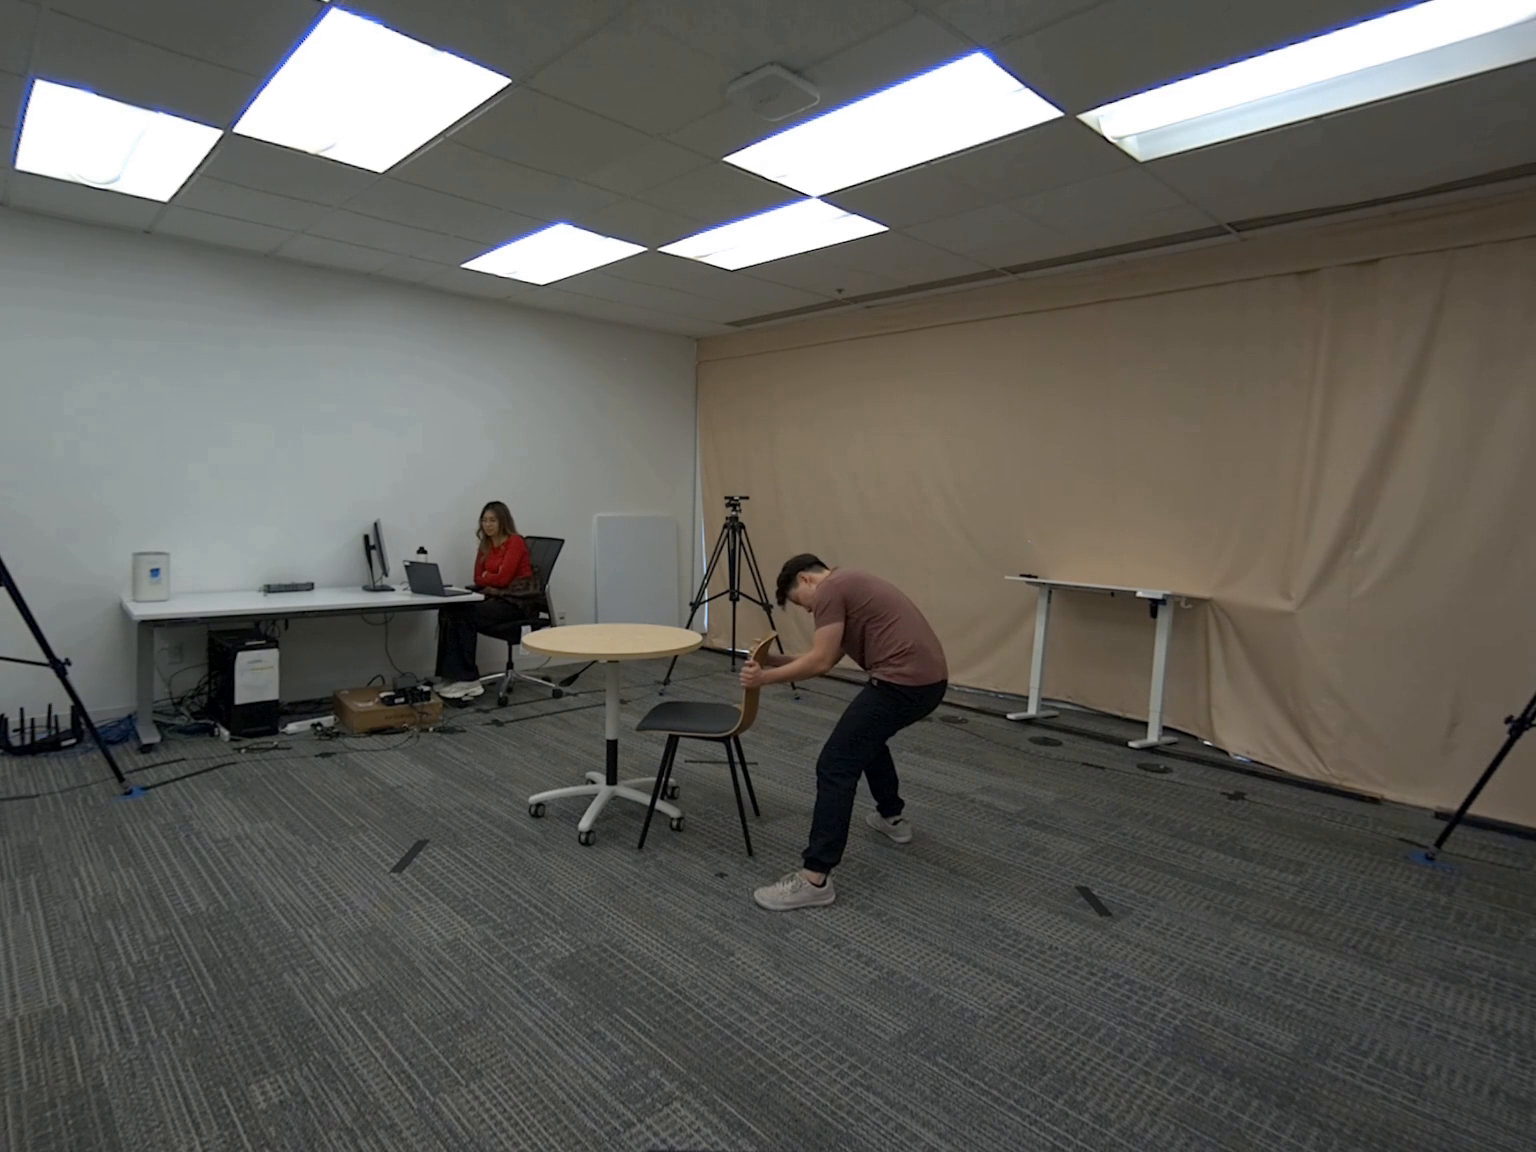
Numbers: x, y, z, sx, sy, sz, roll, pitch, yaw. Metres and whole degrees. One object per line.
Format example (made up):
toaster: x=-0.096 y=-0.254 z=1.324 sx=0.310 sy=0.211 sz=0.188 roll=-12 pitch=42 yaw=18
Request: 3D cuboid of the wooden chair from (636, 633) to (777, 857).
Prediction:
wooden chair: x=-0.273 y=0.639 z=3.463 sx=0.525 sy=0.875 sz=0.477 roll=6 pitch=4 yaw=5
